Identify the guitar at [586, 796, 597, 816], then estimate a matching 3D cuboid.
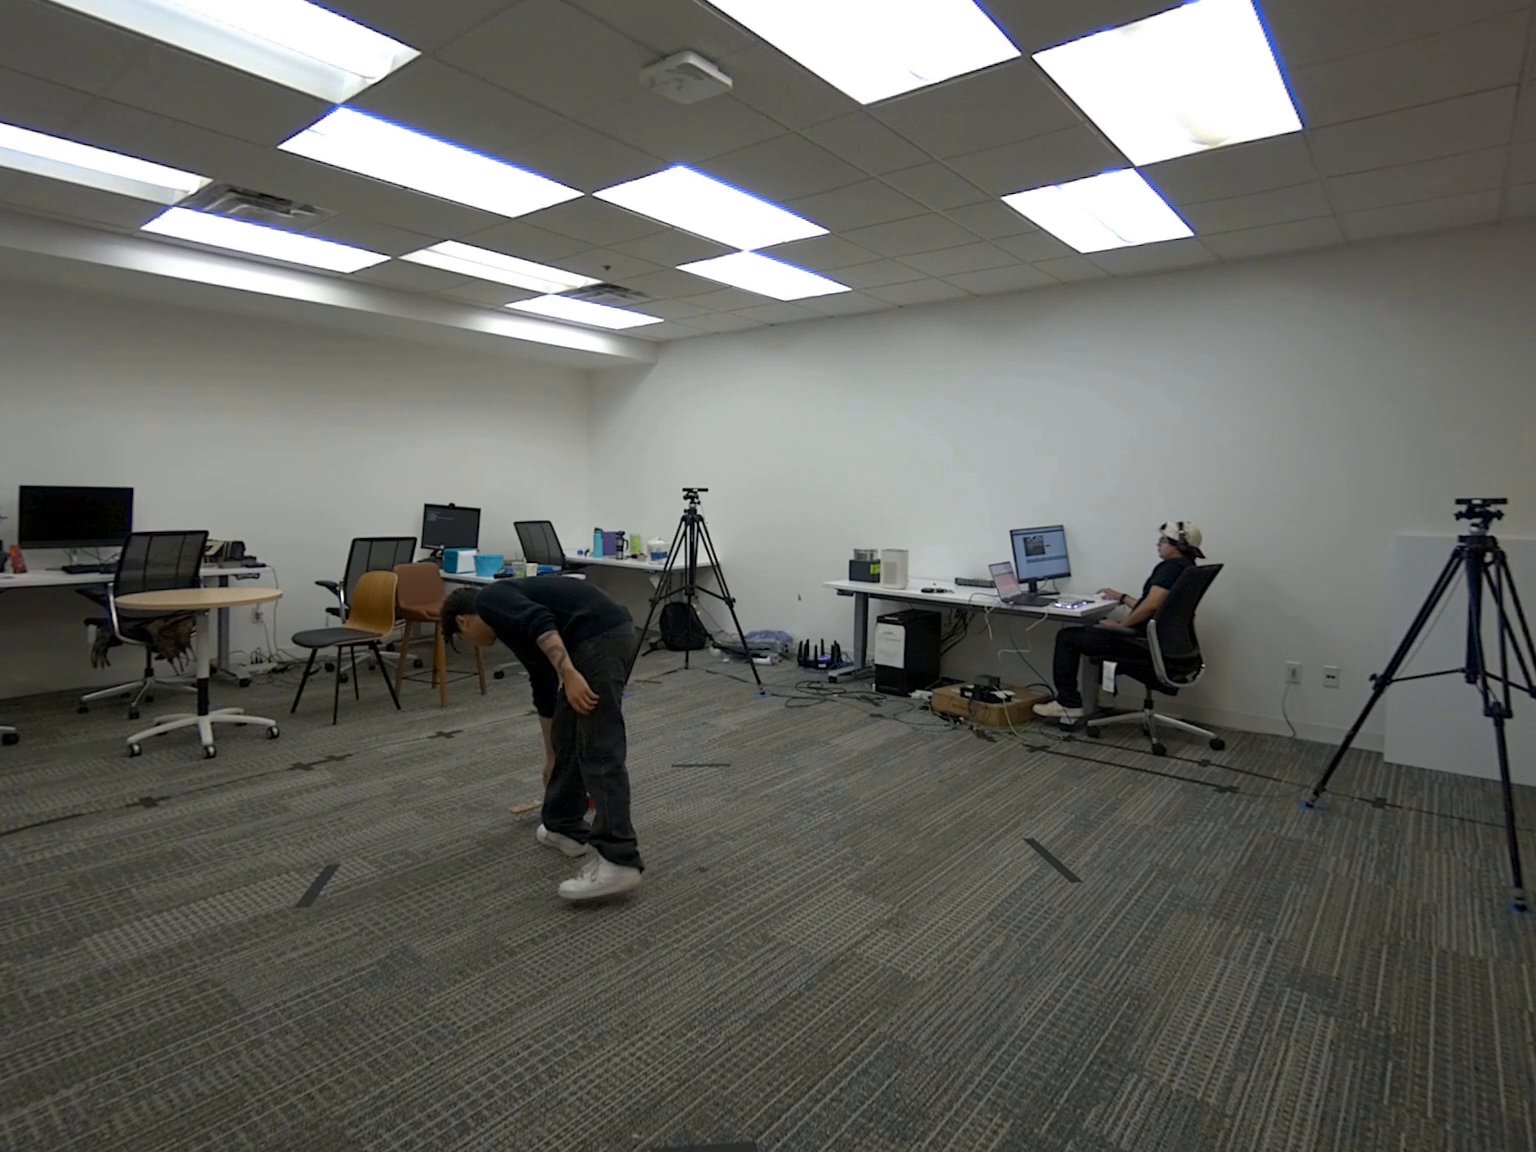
[{"bbox_3d":[-0.908,0.963,3.670,0.483,0.070,0.199,-3,7,-37],"label":"guitar"}]
